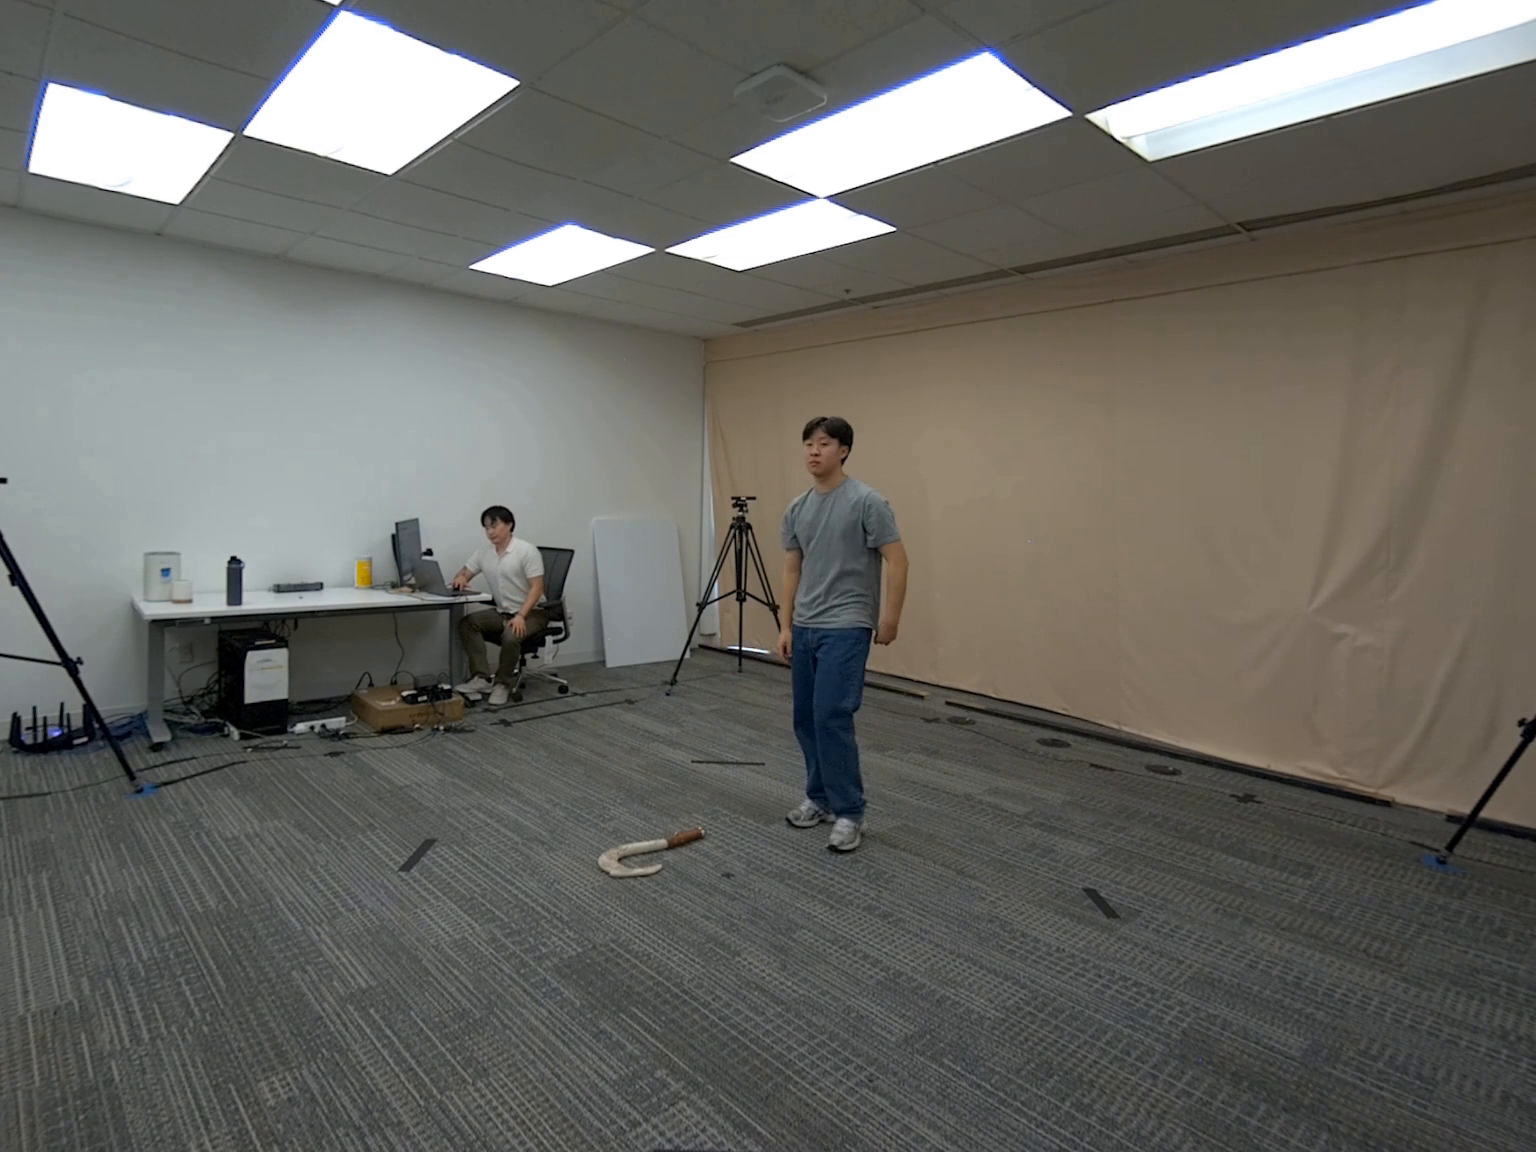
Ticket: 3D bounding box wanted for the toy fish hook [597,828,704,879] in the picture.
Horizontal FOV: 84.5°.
[{"bbox_3d":[-0.421,1.072,3.253,0.495,0.048,0.231,-4,15,-41],"label":"toy fish hook"}]
